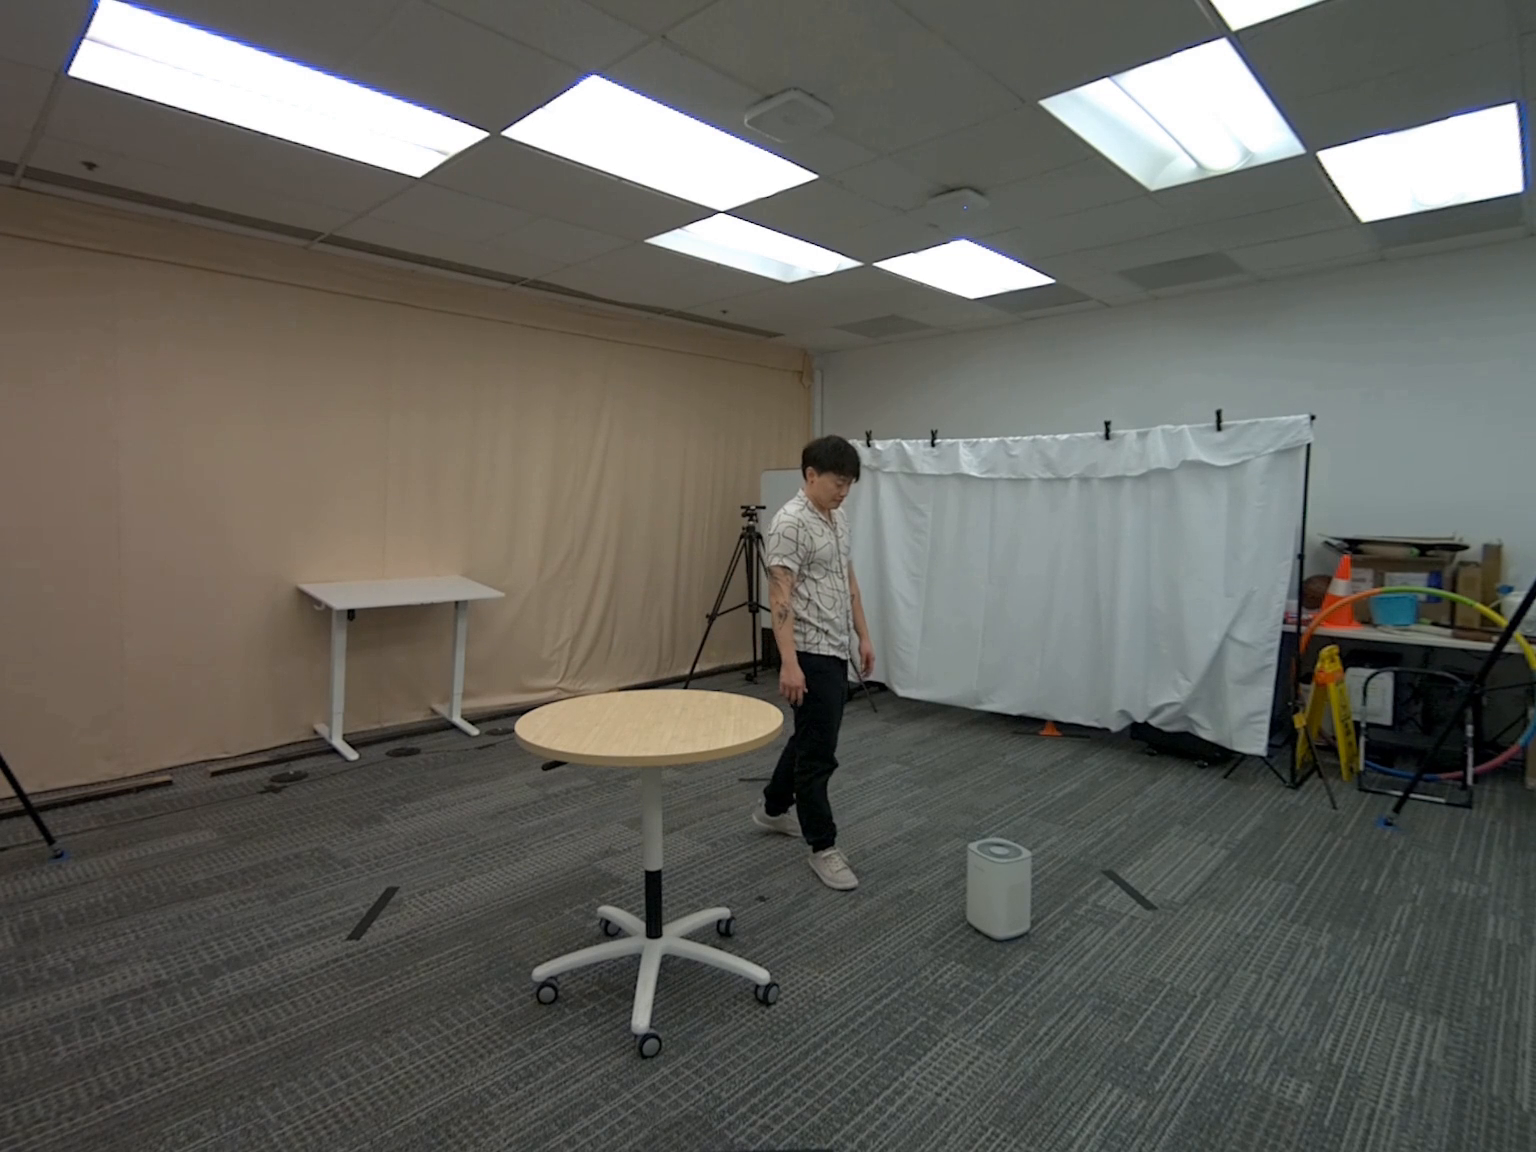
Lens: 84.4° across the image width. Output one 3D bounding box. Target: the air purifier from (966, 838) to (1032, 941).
[{"bbox_3d":[0.762,1.025,2.759,0.167,0.265,0.176,-3,4,-32],"label":"air purifier"}]
